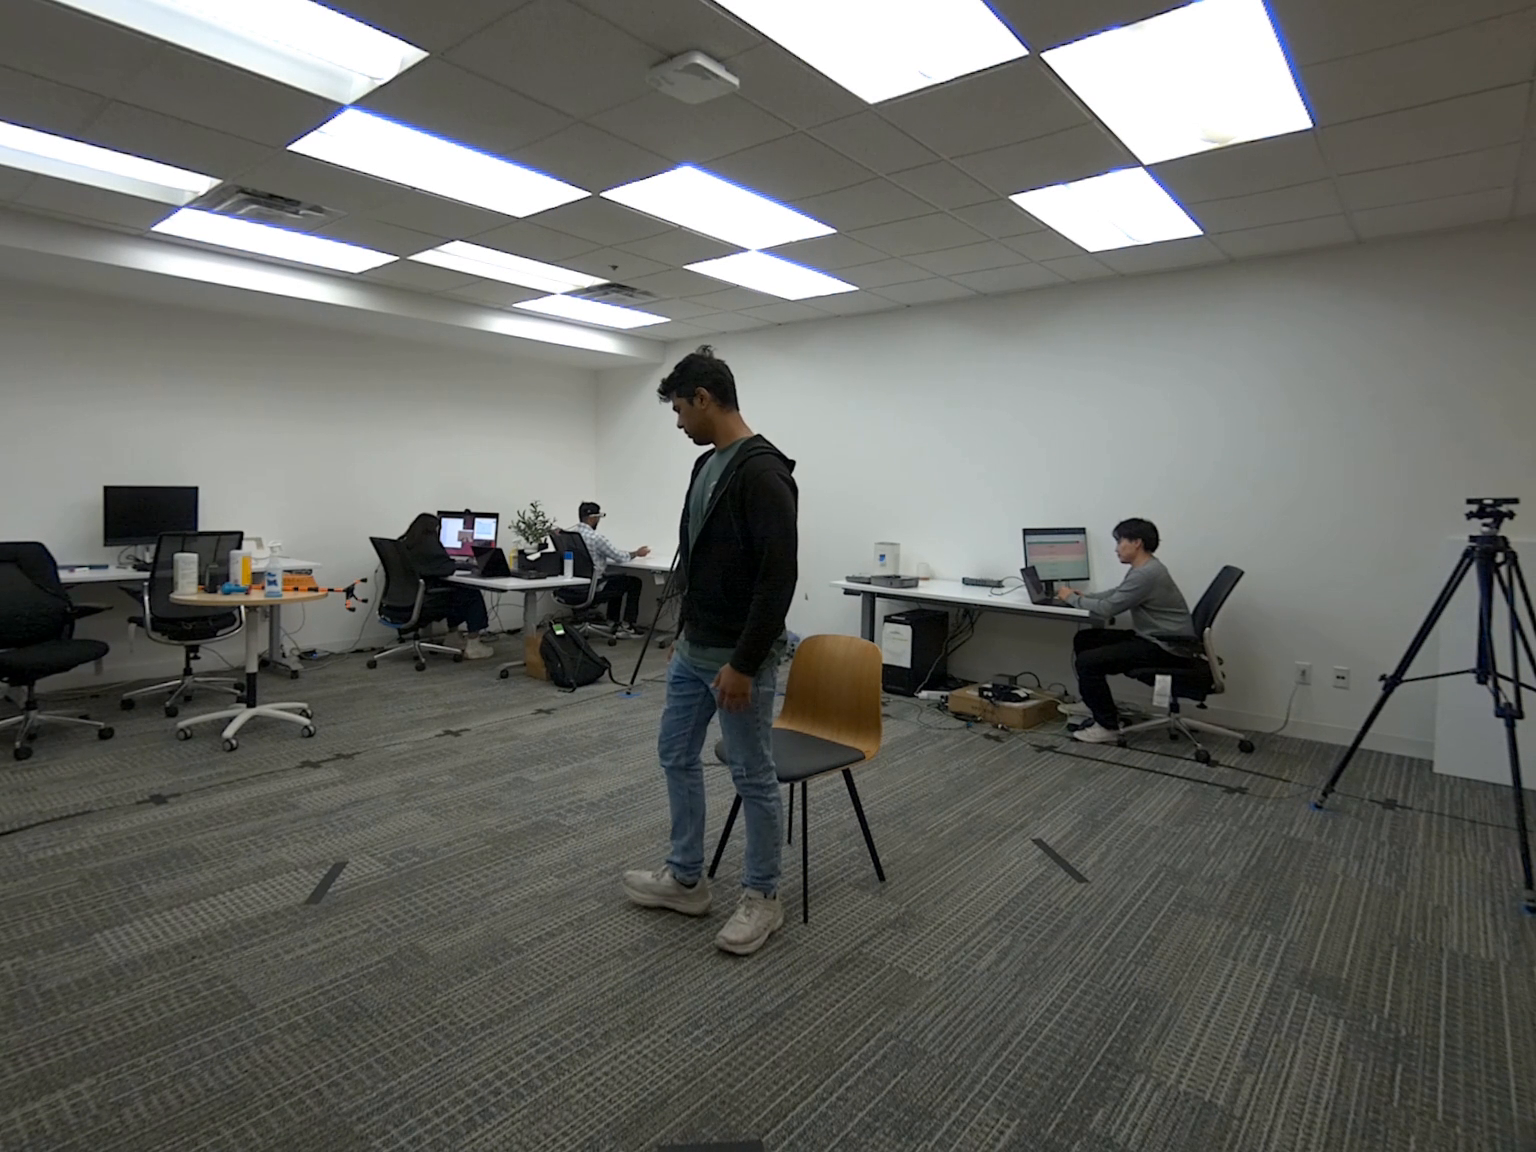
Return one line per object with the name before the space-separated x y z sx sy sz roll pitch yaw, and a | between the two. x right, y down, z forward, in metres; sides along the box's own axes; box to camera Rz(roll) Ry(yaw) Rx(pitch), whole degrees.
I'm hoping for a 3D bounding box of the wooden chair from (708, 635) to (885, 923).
wooden chair | 0.100 0.658 3.014 0.494 0.877 0.506 5 1 44
